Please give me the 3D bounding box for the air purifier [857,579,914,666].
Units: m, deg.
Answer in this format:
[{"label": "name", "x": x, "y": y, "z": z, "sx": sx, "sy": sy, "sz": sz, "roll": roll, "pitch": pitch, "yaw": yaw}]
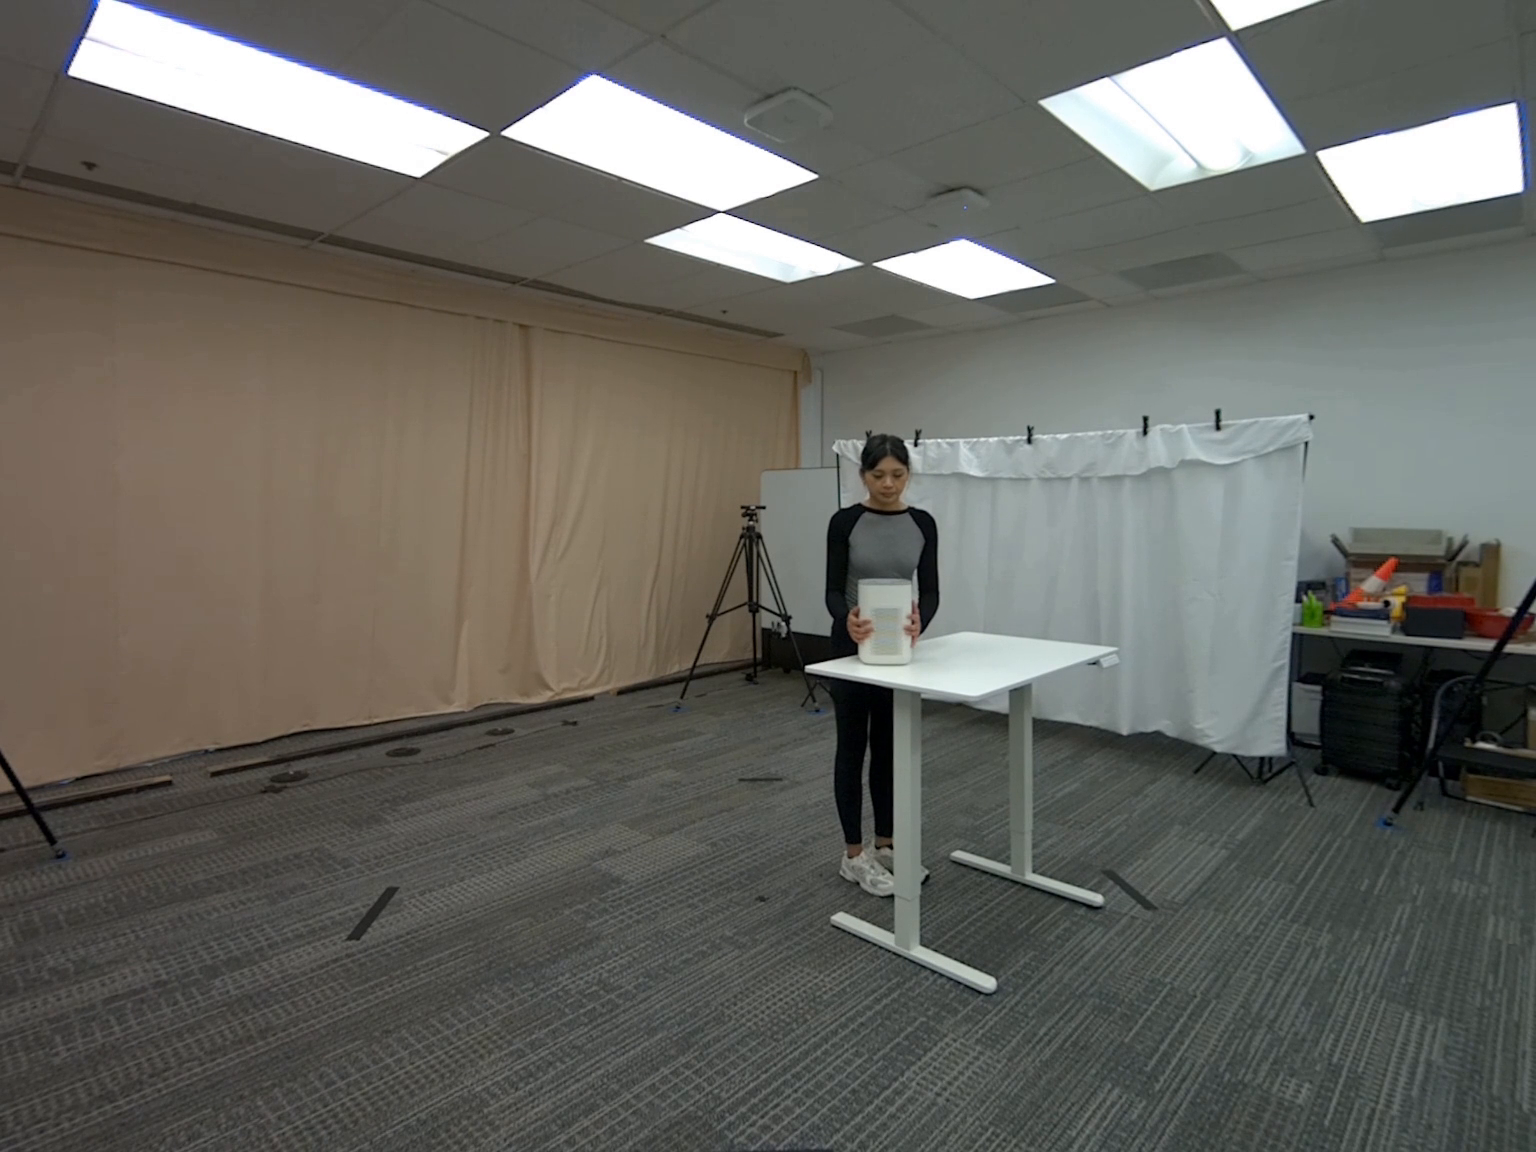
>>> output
[{"label": "air purifier", "x": 0.384, "y": 0.151, "z": 2.759, "sx": 0.173, "sy": 0.265, "sz": 0.170, "roll": 0, "pitch": 4, "yaw": 6}]
